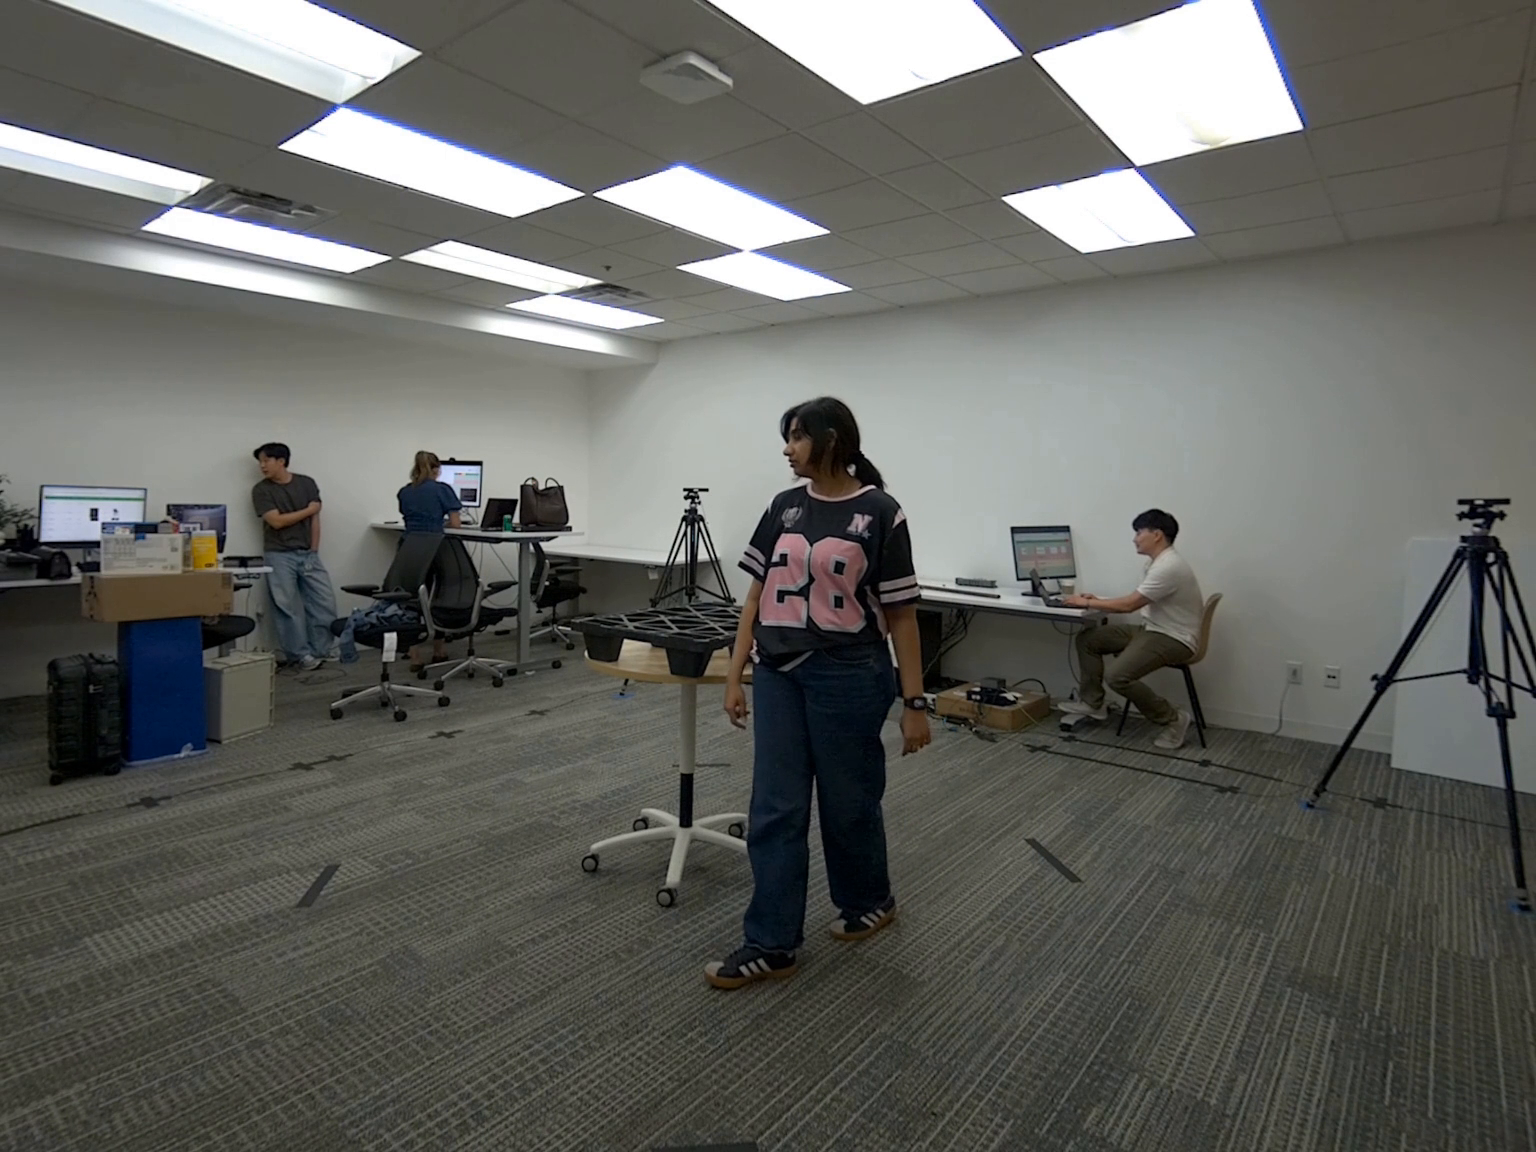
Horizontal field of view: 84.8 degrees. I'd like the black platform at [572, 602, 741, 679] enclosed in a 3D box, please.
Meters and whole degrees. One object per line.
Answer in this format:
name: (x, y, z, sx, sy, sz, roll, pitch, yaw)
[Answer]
black platform: (-0.240, 0.220, 3.130, 0.625, 0.143, 0.783, 6, 7, 34)
